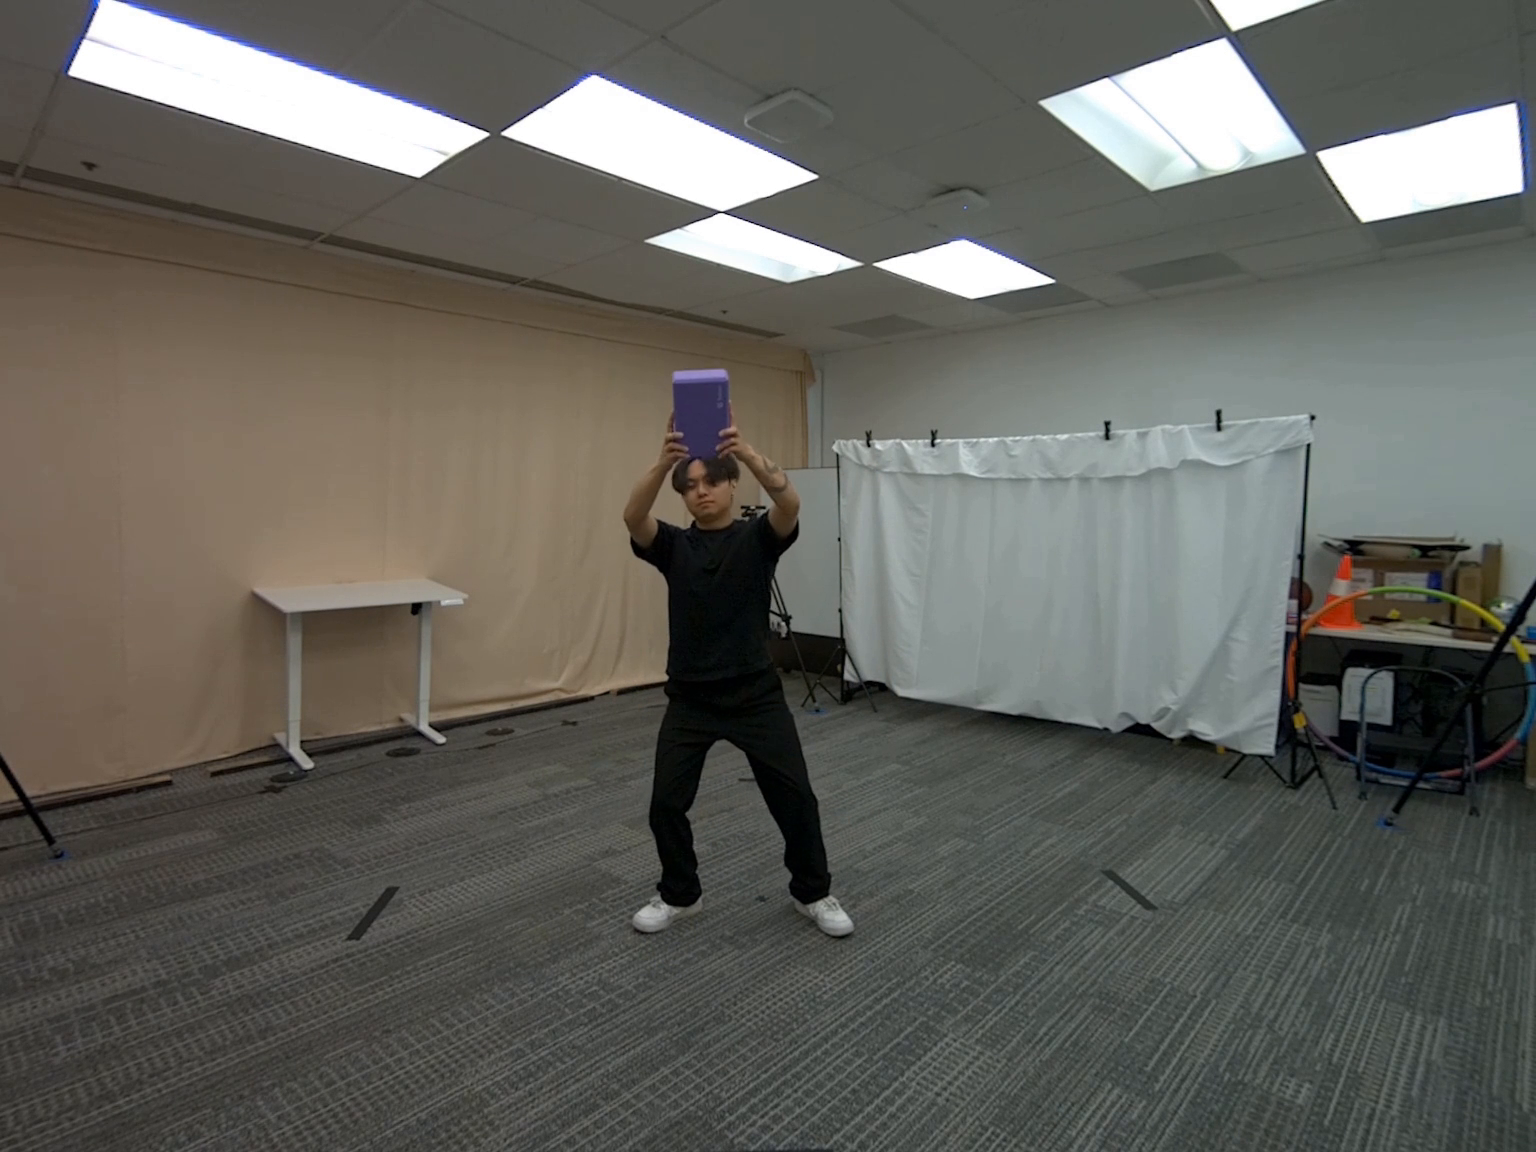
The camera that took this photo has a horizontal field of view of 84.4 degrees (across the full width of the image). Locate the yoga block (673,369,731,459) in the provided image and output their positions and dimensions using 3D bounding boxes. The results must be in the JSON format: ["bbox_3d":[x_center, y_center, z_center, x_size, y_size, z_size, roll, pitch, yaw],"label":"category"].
[{"bbox_3d":[-0.179,-0.425,2.258,0.148,0.226,0.078,1,31,-4],"label":"yoga block"}]
